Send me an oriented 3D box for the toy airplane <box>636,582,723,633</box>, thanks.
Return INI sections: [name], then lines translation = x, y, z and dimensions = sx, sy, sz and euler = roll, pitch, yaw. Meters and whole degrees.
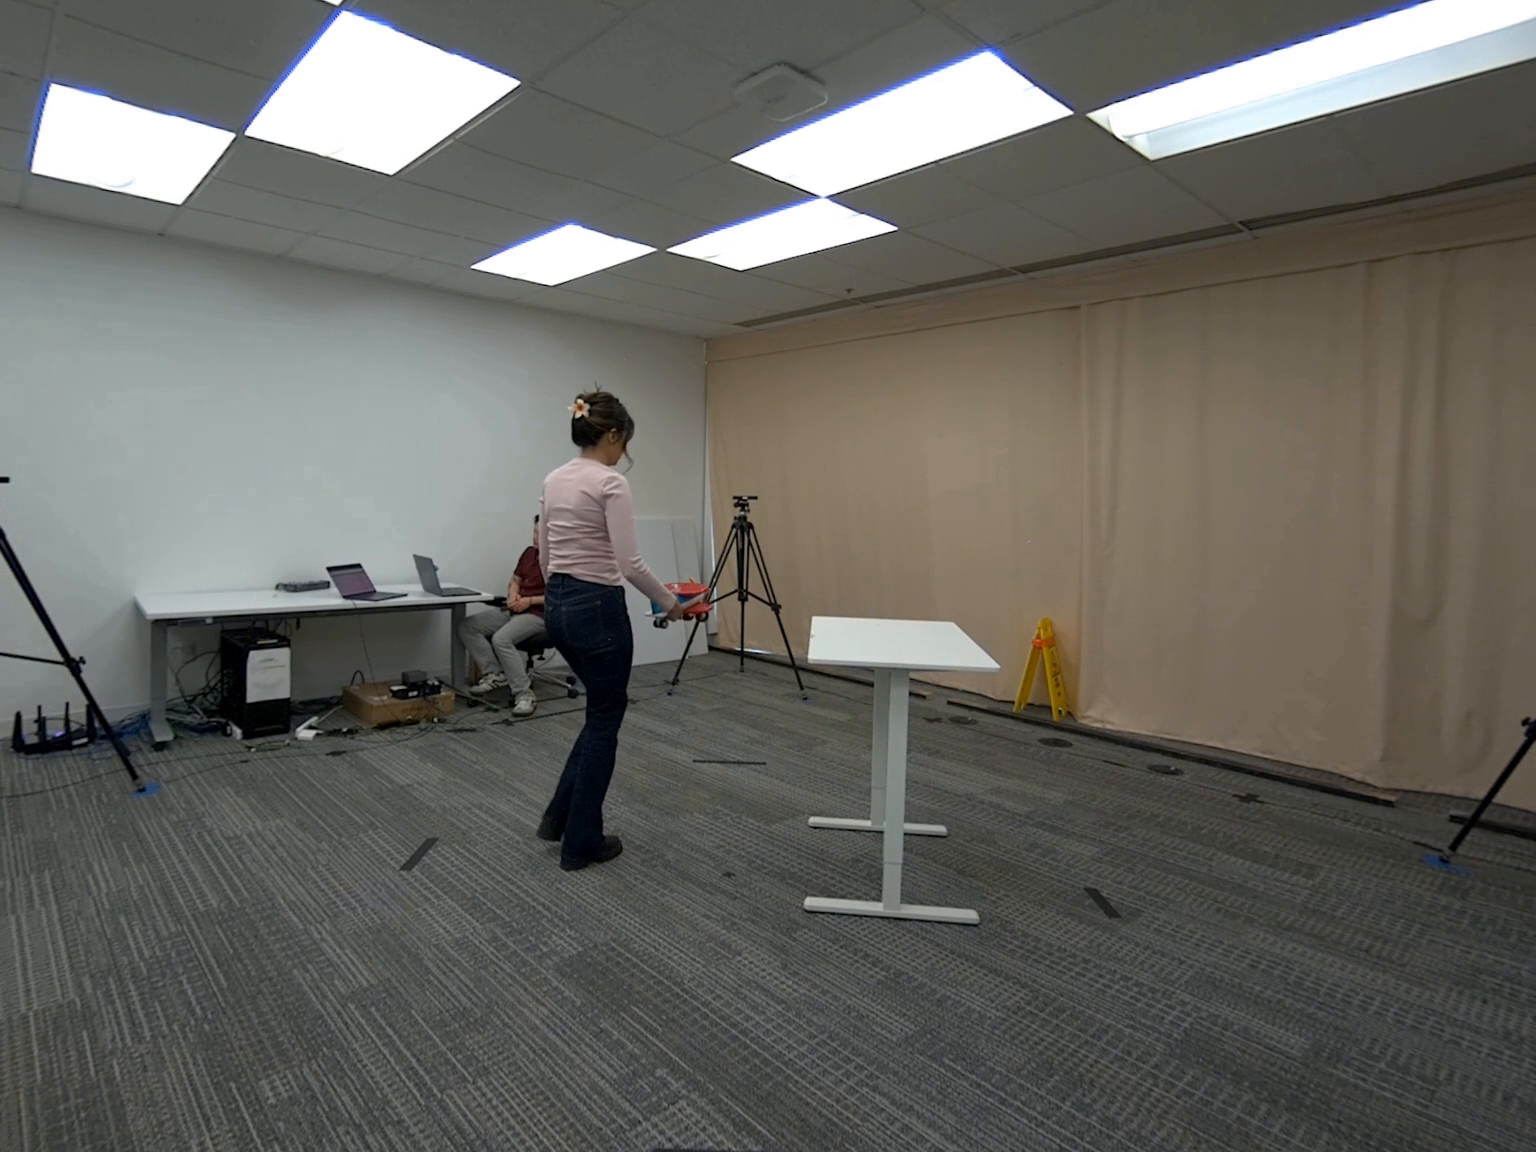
[toy airplane]
translation = -0.339, 0.115, 3.252
dimensions = 0.254, 0.156, 0.257
euler = 0, 4, 15
